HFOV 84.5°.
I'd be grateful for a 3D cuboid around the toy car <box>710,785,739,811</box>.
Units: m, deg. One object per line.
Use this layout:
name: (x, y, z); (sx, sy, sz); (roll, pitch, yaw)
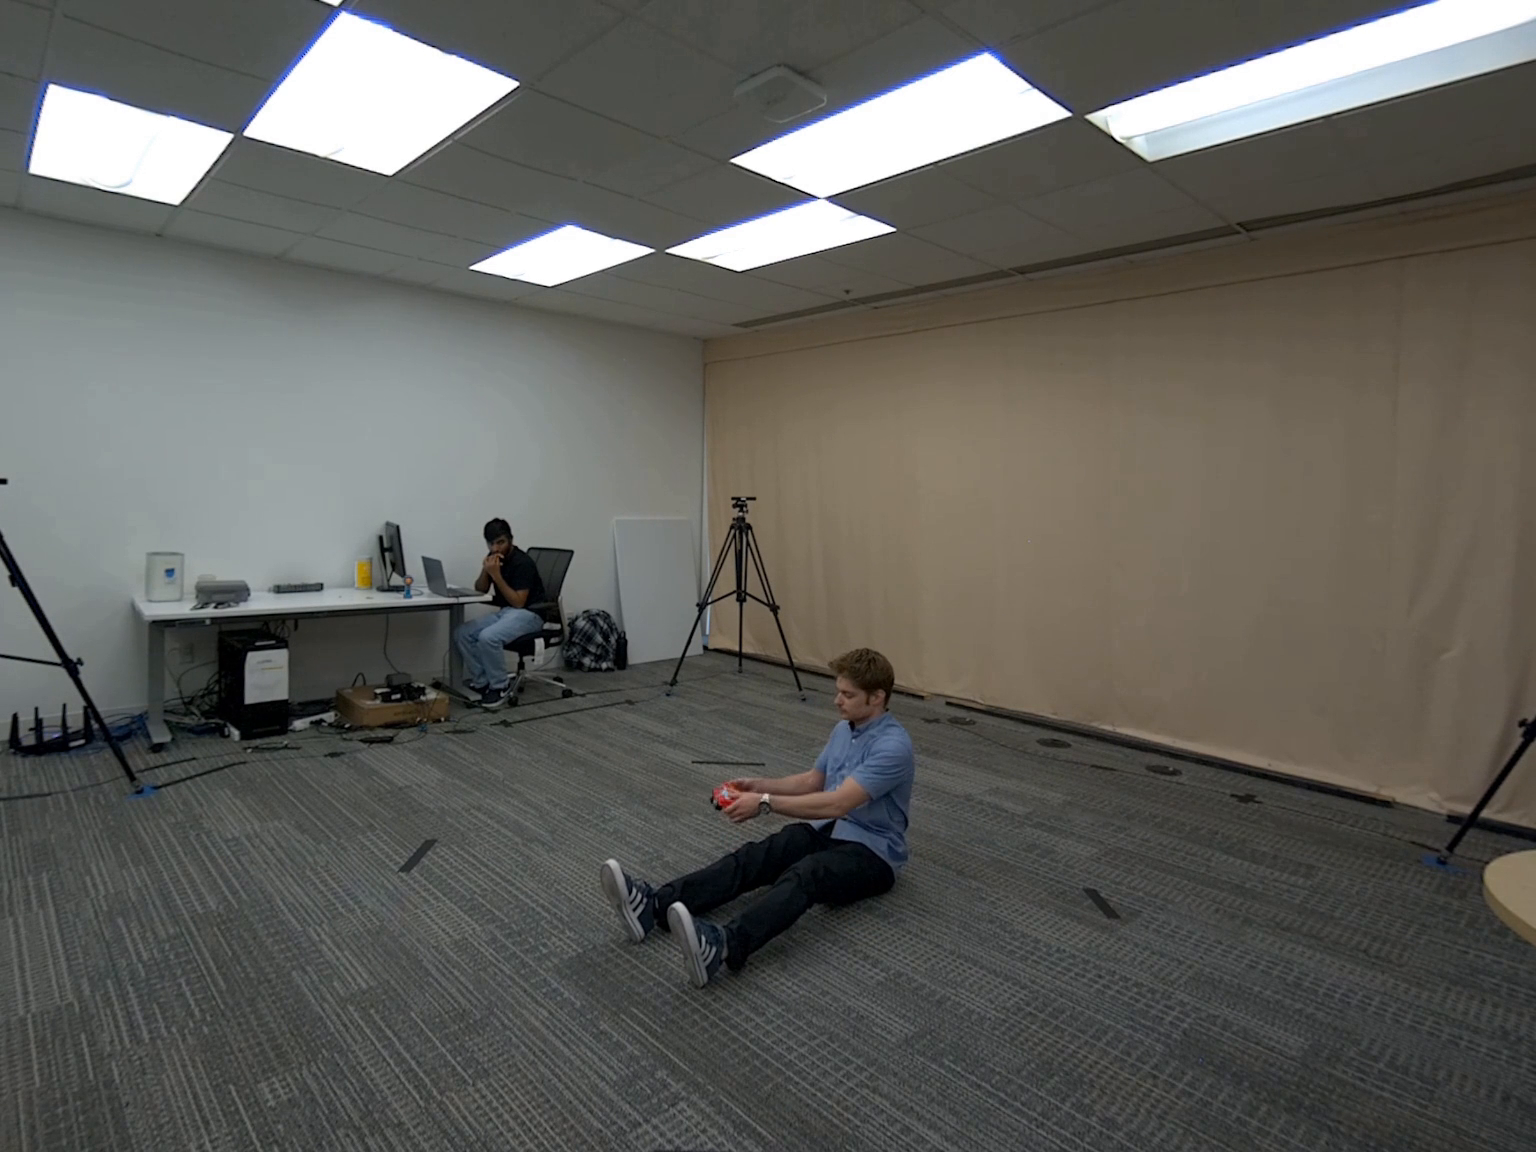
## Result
toy car: (-0.140, 0.828, 3.113); (0.130, 0.083, 0.256); (9, 5, -6)
